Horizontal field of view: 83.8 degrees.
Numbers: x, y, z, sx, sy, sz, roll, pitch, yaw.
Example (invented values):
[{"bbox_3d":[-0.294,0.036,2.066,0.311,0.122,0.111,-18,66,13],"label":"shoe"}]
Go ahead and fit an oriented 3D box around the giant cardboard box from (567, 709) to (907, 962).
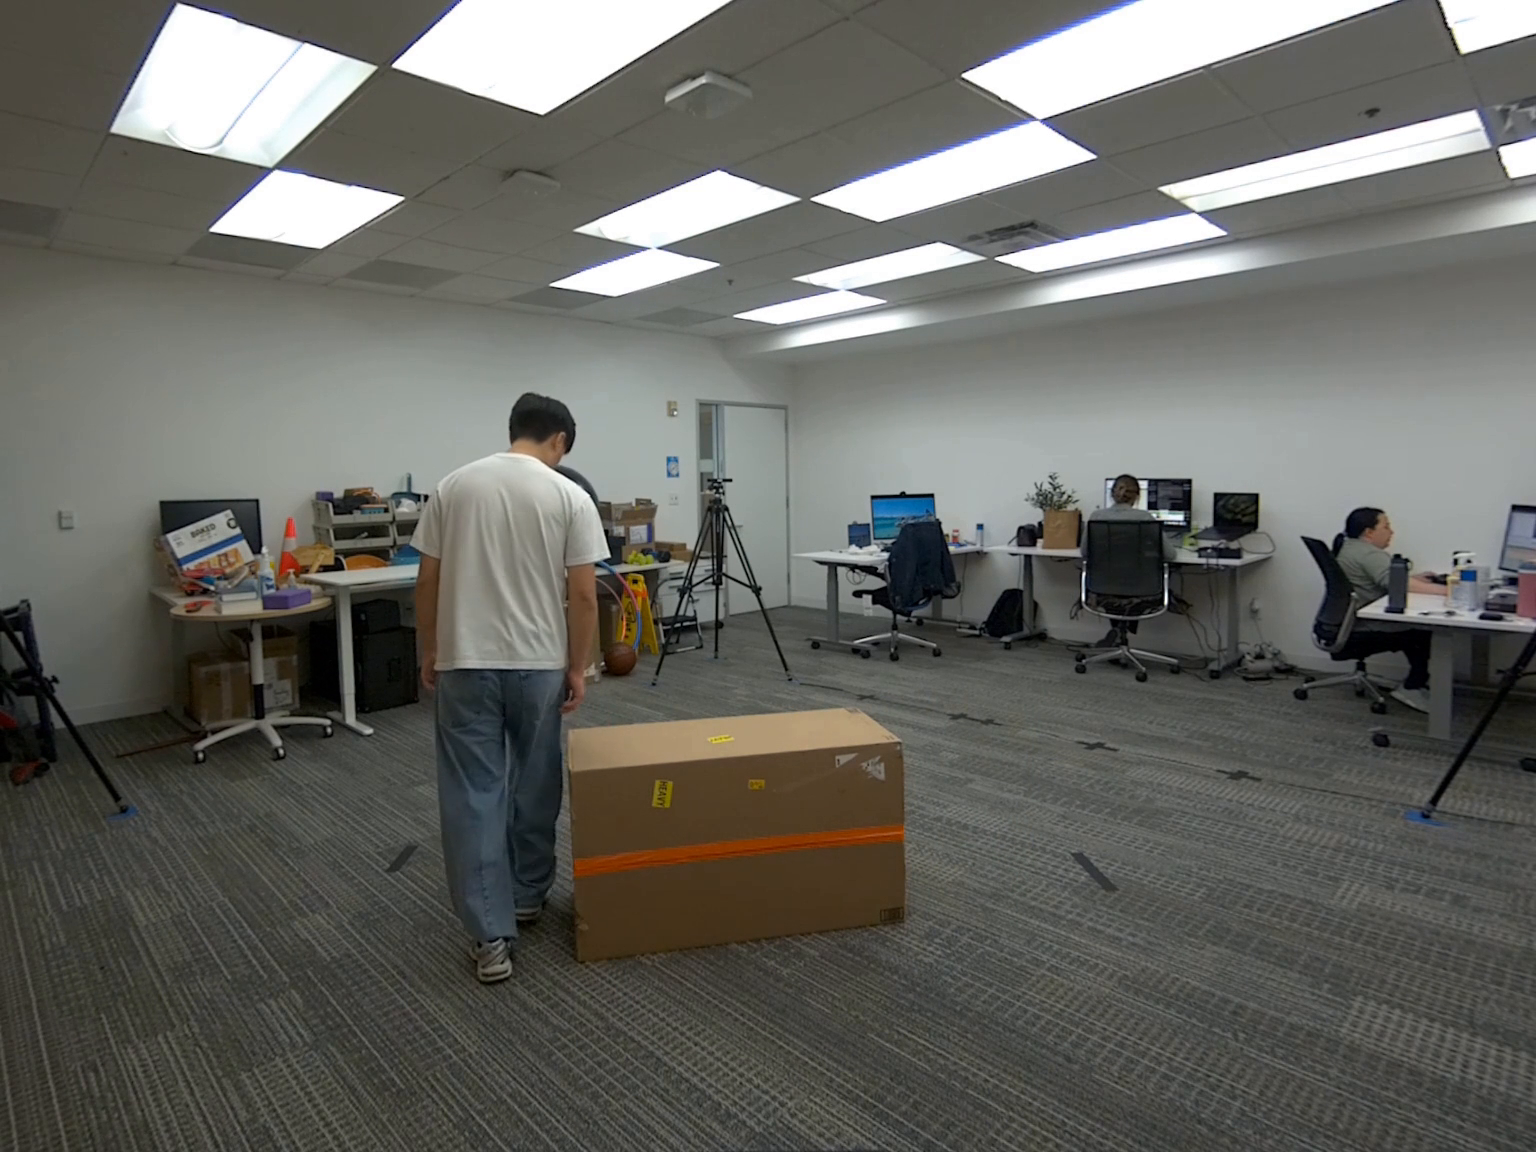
[{"bbox_3d":[-0.116,0.798,2.766,1.015,0.575,0.432,-3,5,-11],"label":"giant cardboard box"}]
